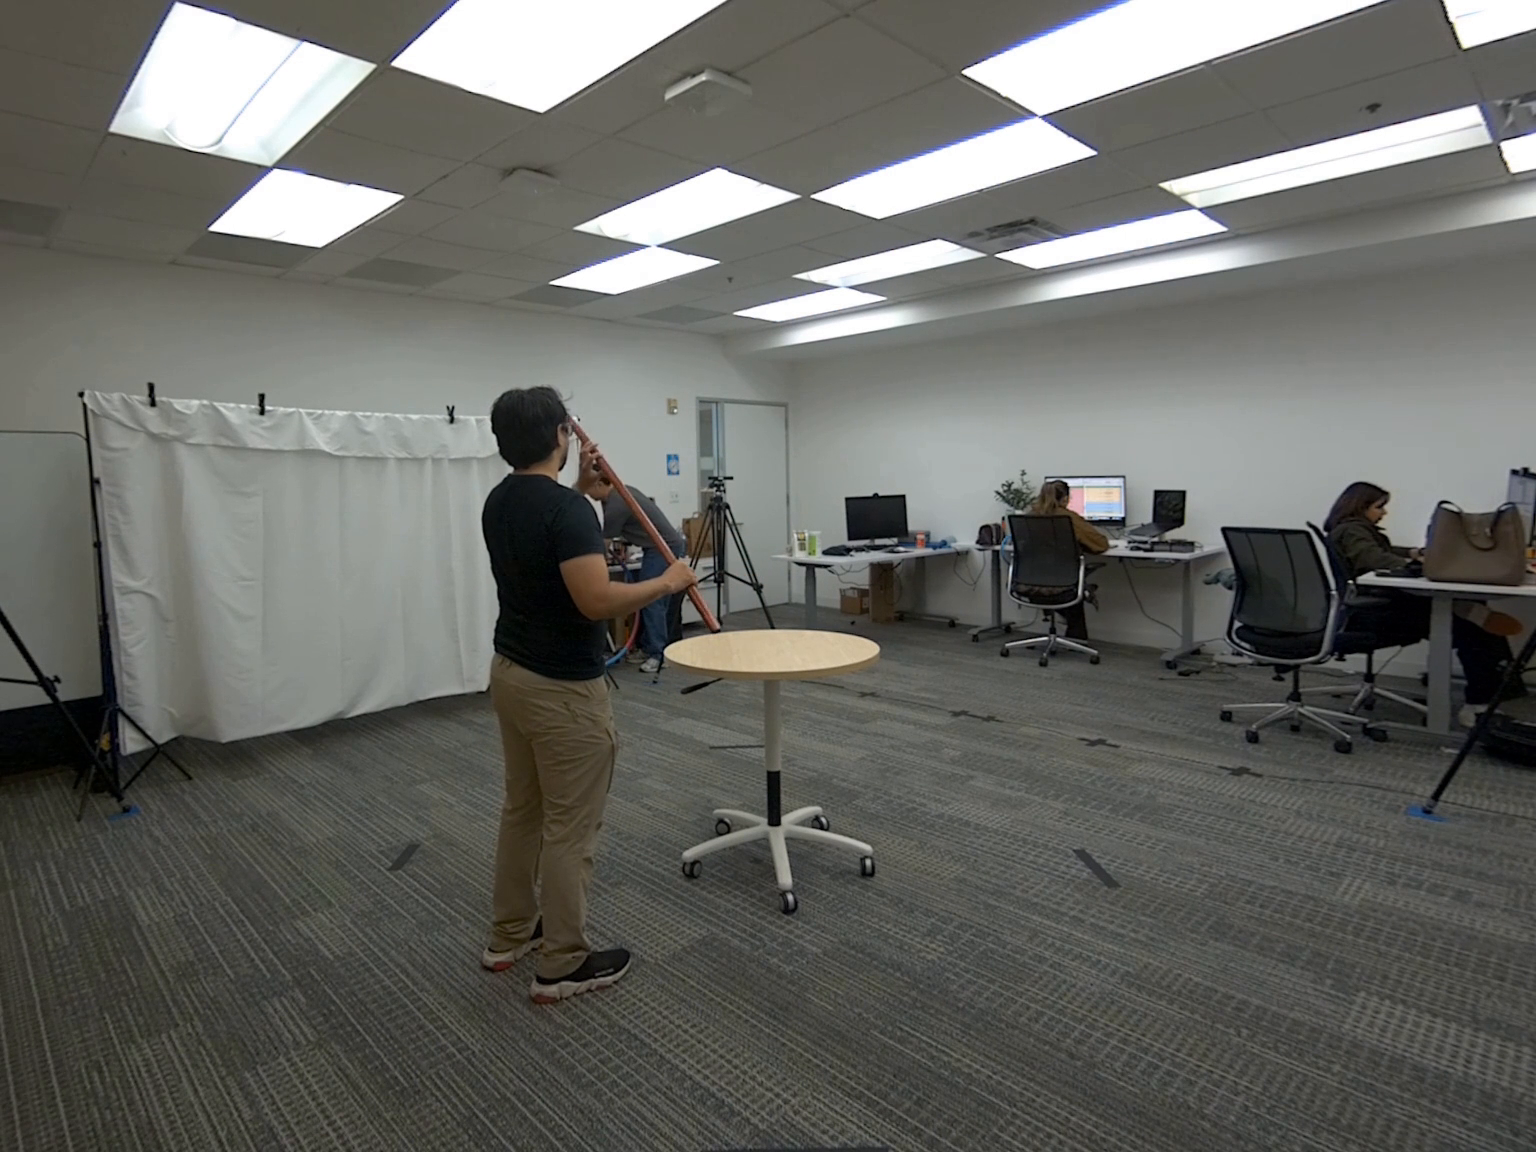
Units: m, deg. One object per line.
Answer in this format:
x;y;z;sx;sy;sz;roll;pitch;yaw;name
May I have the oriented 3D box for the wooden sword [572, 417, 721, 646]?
-0.392;-0.196;2.595;0.050;0.023;1.060;-21;56;-26;wooden sword
